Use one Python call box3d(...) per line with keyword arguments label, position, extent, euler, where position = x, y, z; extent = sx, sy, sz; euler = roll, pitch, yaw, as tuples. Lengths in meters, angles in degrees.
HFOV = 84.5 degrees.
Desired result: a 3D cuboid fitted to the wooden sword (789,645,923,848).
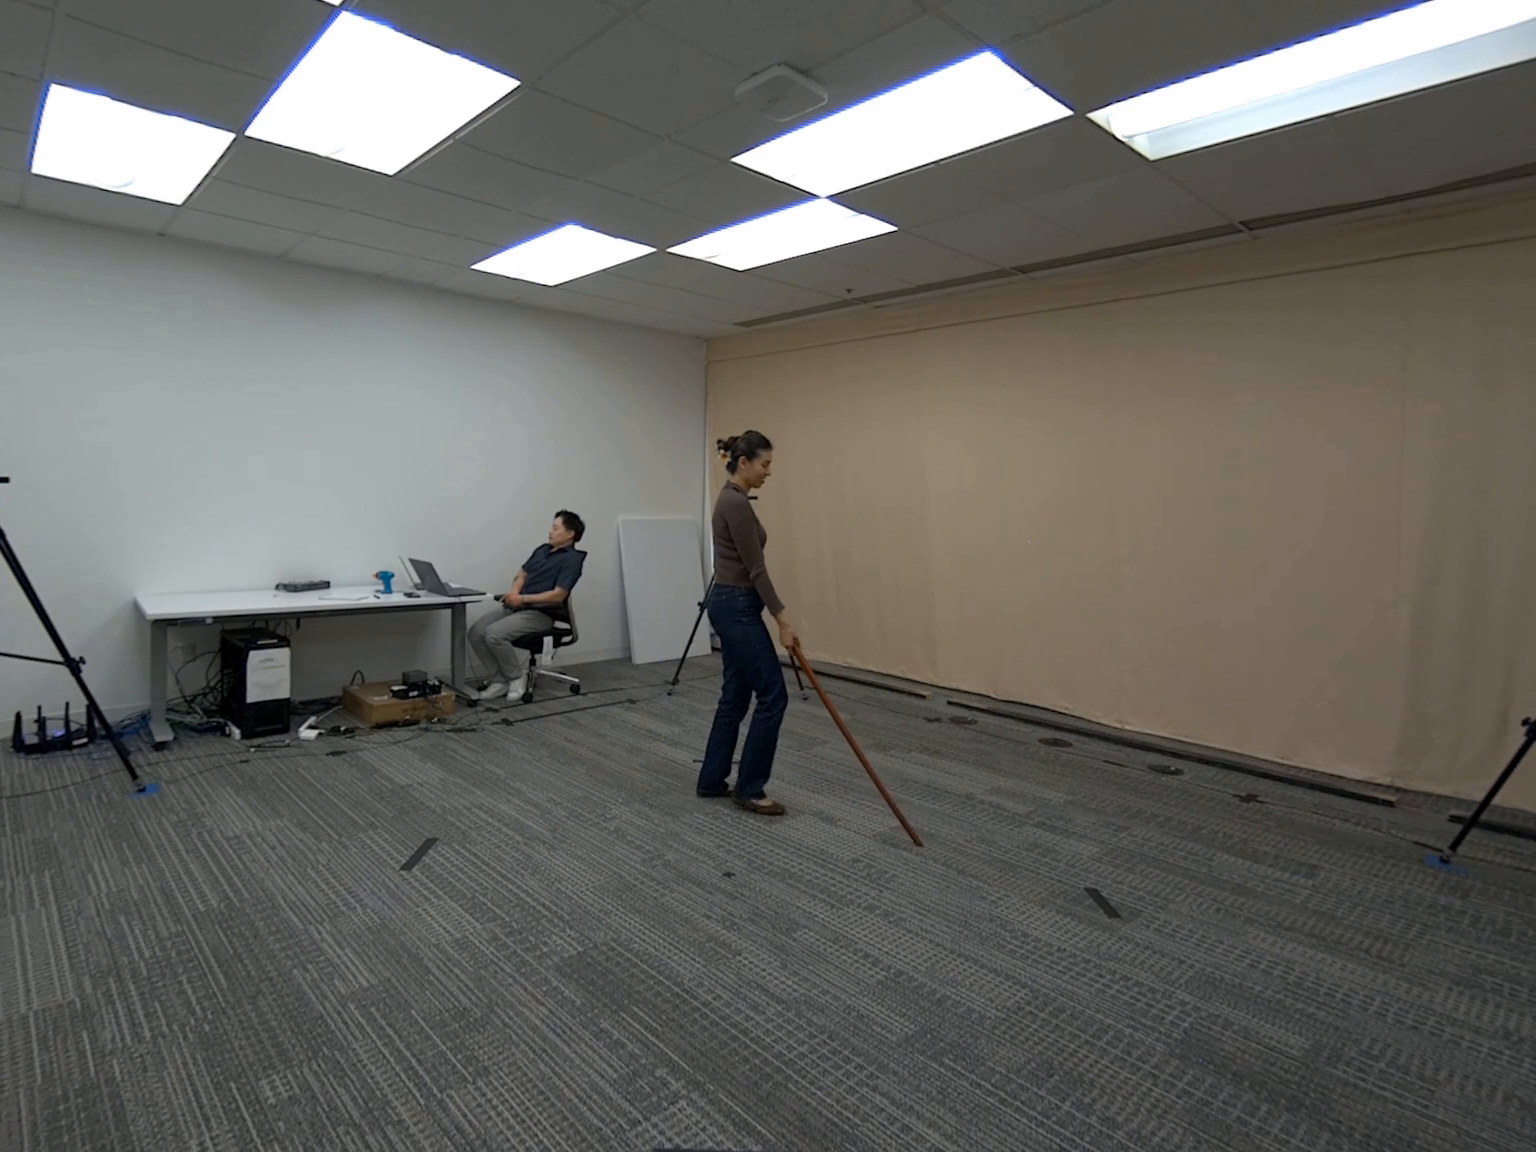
box3d(label="wooden sword", position=(0.343, 0.691, 3.566), extent=(0.024, 1.042, 0.050), euler=(-37, -17, 12))
